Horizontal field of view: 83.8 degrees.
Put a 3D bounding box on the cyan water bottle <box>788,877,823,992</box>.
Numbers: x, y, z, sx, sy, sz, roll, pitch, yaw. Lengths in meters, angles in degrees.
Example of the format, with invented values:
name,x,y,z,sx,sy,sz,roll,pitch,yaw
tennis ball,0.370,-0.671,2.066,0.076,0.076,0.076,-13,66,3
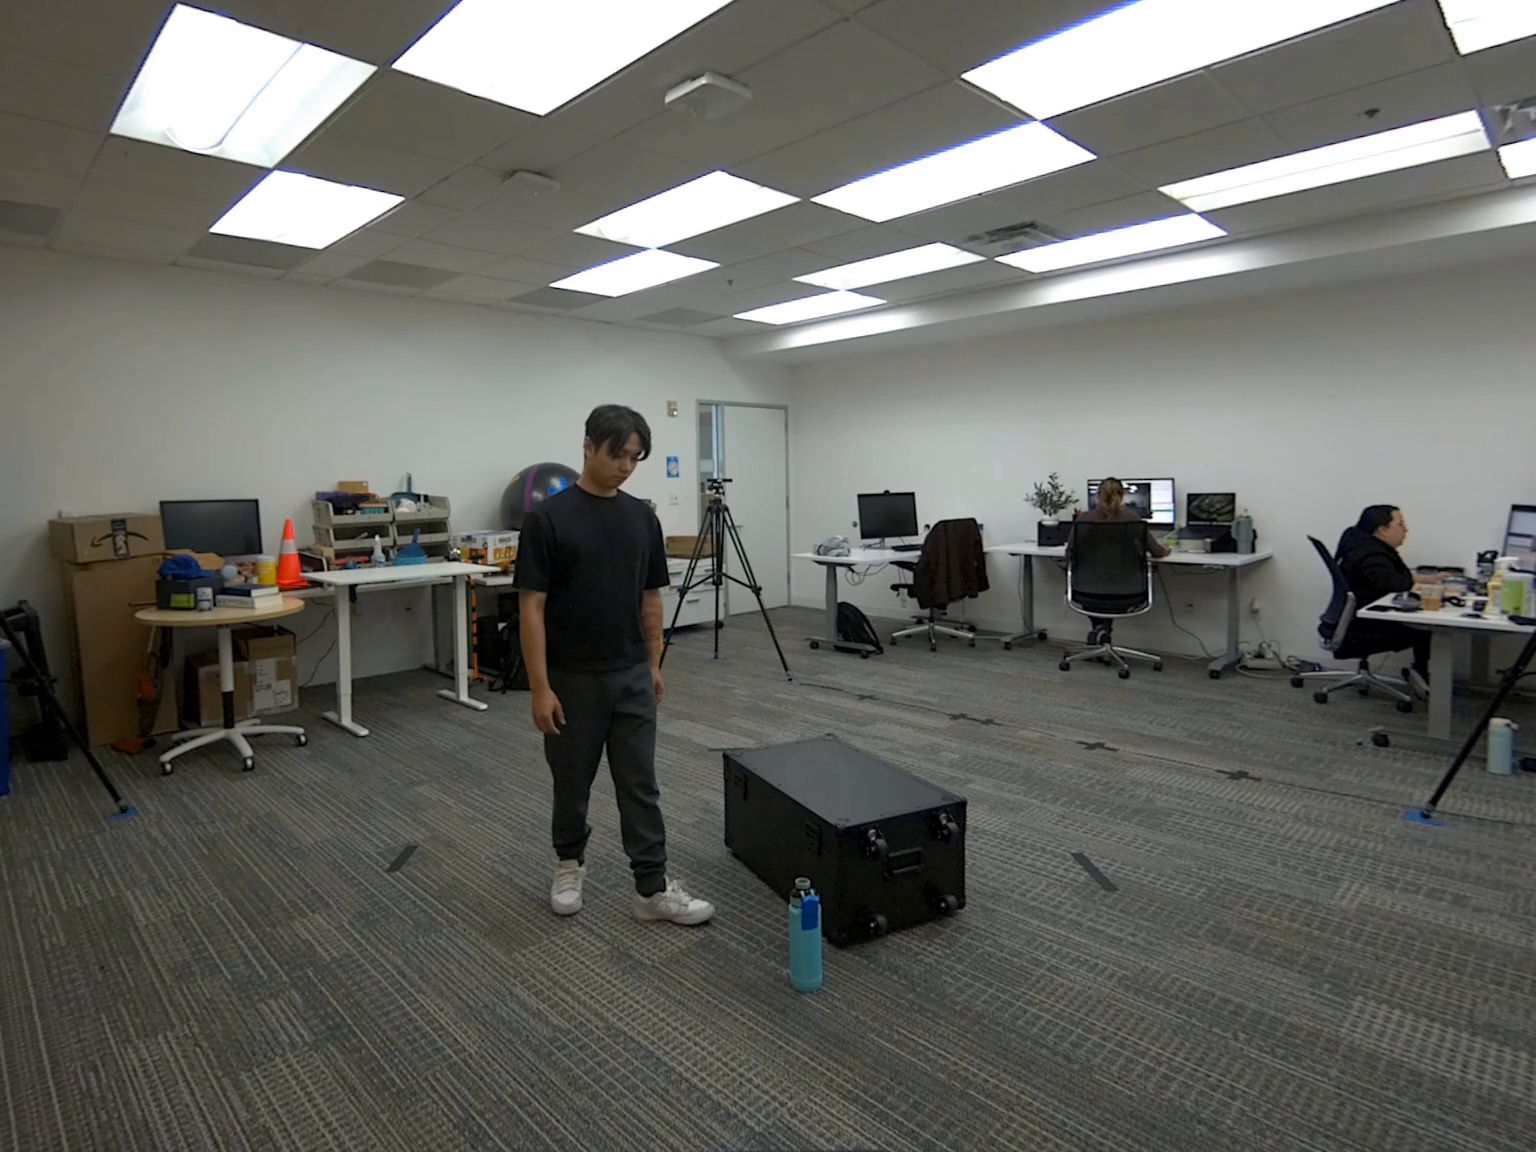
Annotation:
name,x,y,z,sx,sy,sz,roll,pitch,yaw
cyan water bottle,0.107,0.991,2.354,0.092,0.282,0.093,0,5,-2
